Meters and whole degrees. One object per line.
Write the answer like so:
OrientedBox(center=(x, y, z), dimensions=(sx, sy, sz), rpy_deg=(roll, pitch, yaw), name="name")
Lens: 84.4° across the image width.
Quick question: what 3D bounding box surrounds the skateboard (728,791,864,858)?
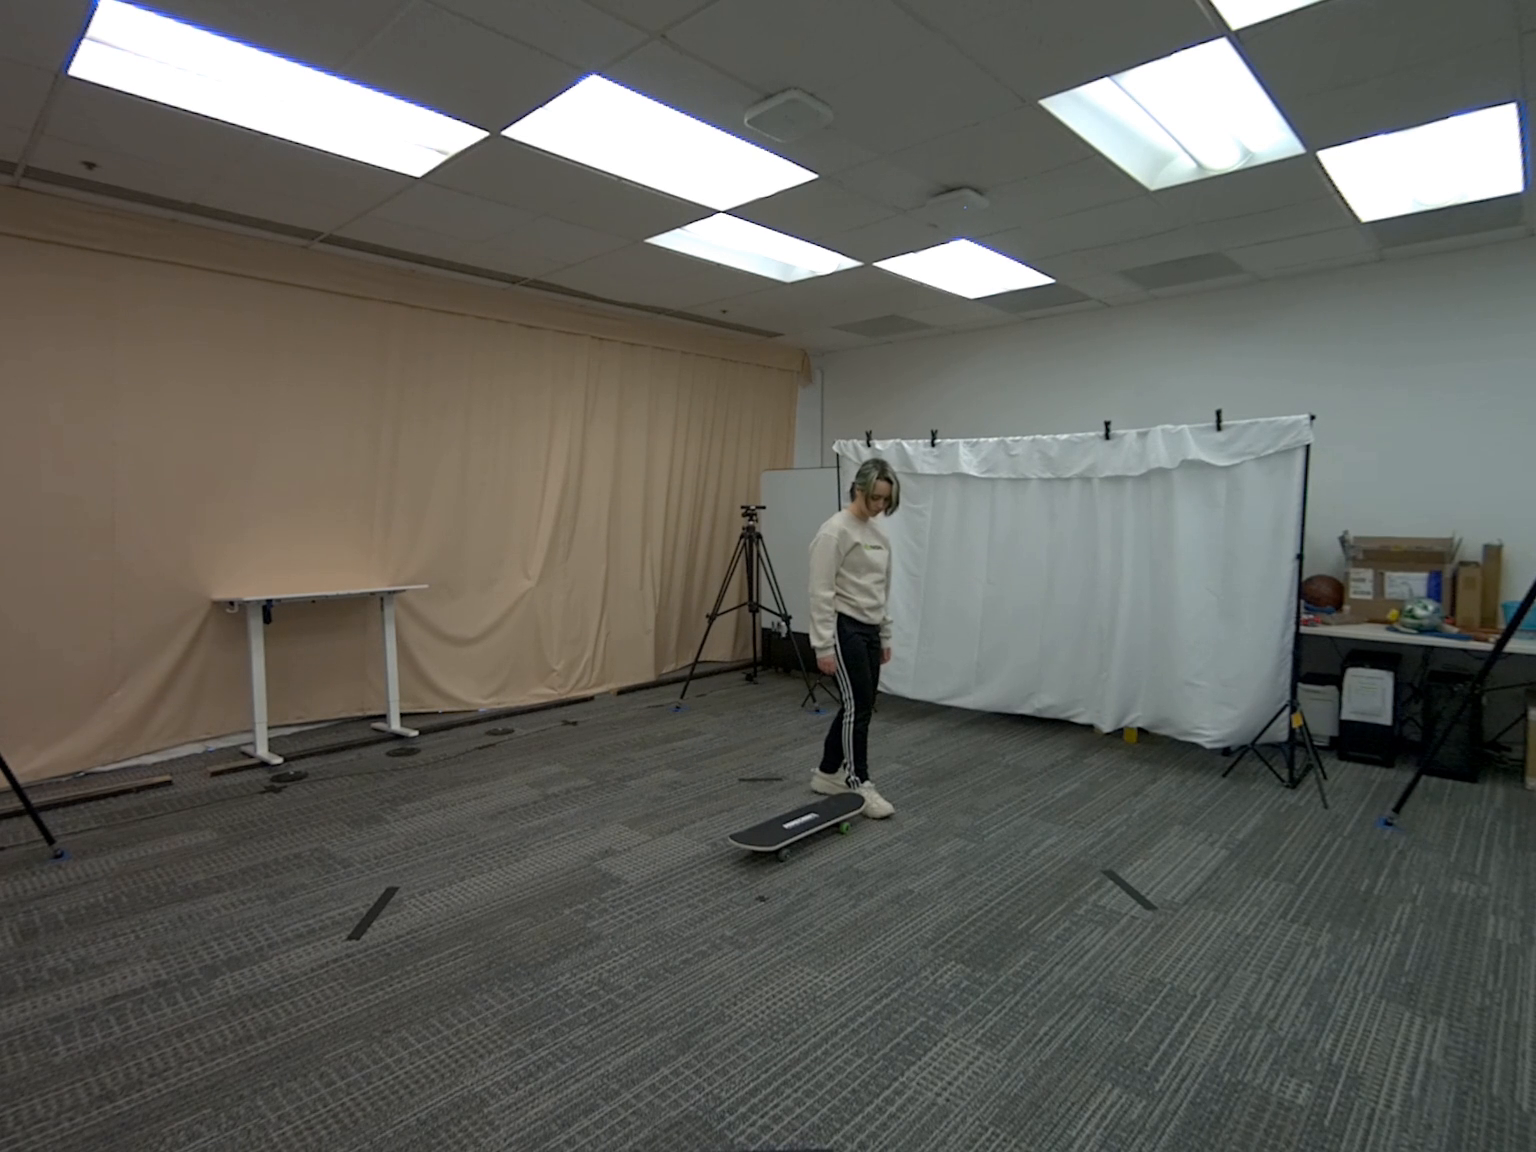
OrientedBox(center=(0.136, 1.048, 3.483), dimensions=(0.200, 0.110, 0.761), rpy_deg=(5, 6, 44), name="skateboard")
